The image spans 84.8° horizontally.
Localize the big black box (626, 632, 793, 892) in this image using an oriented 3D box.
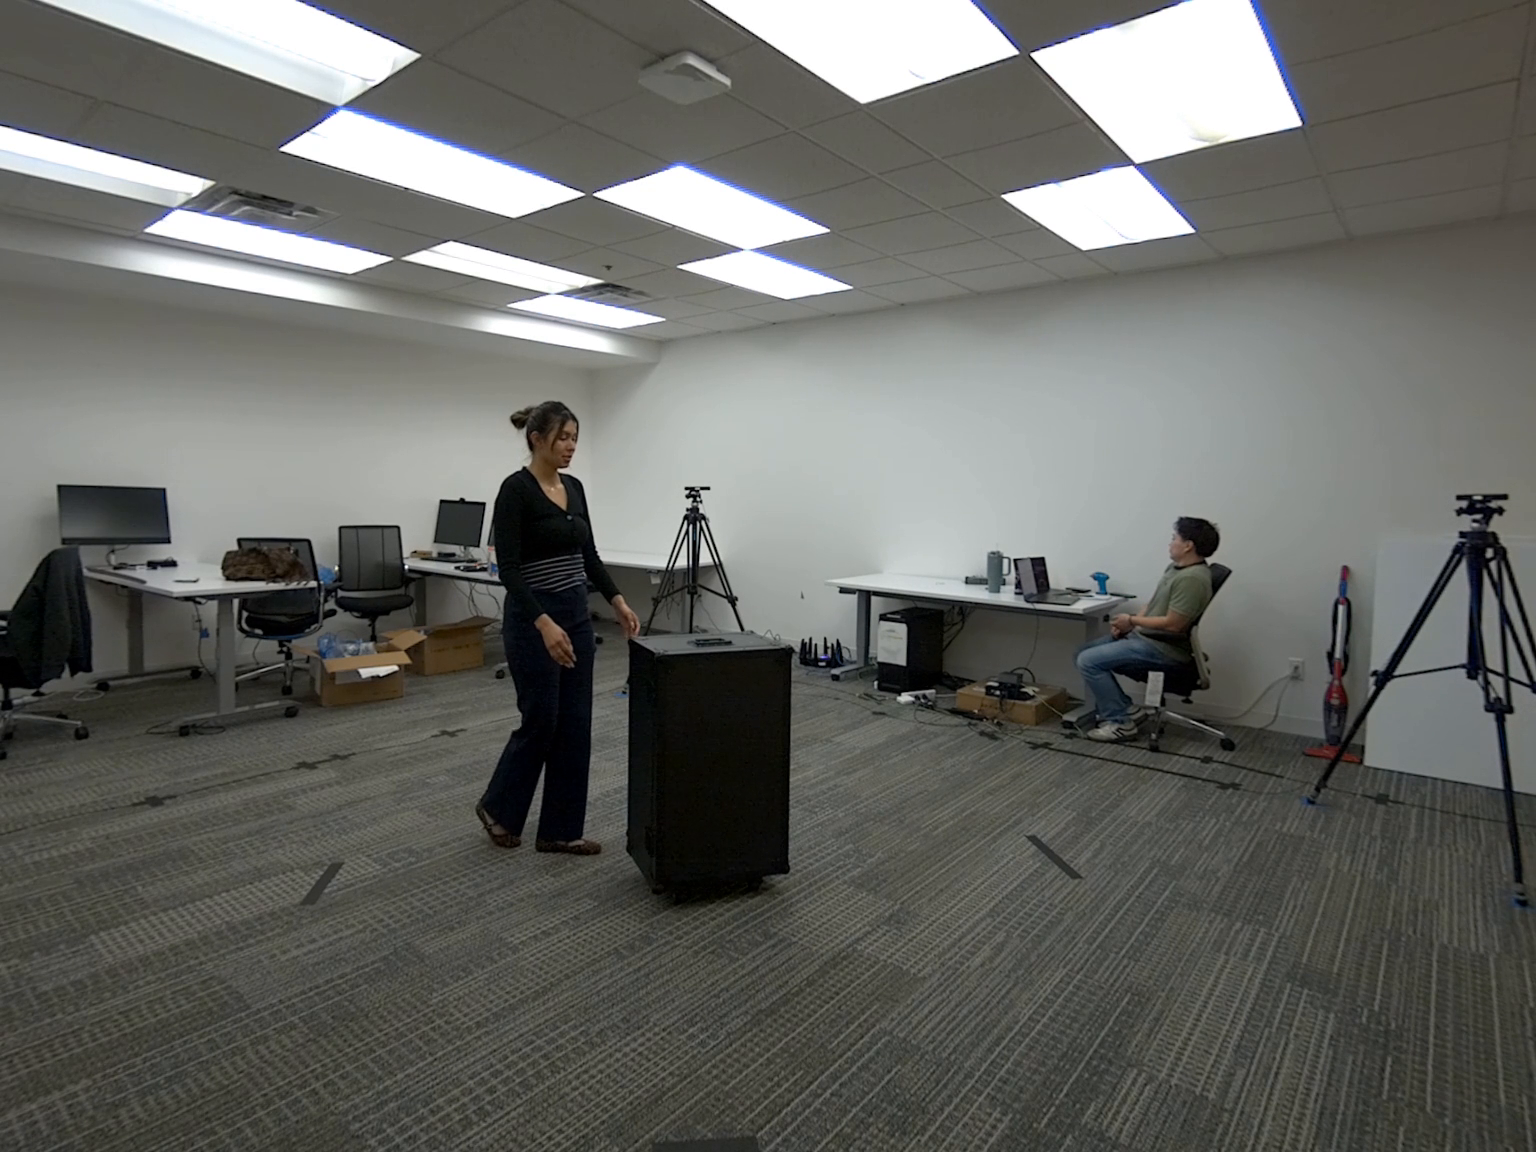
[{"bbox_3d":[-0.223,0.589,2.987,0.510,0.859,0.406,-1,4,-23],"label":"big black box"}]
